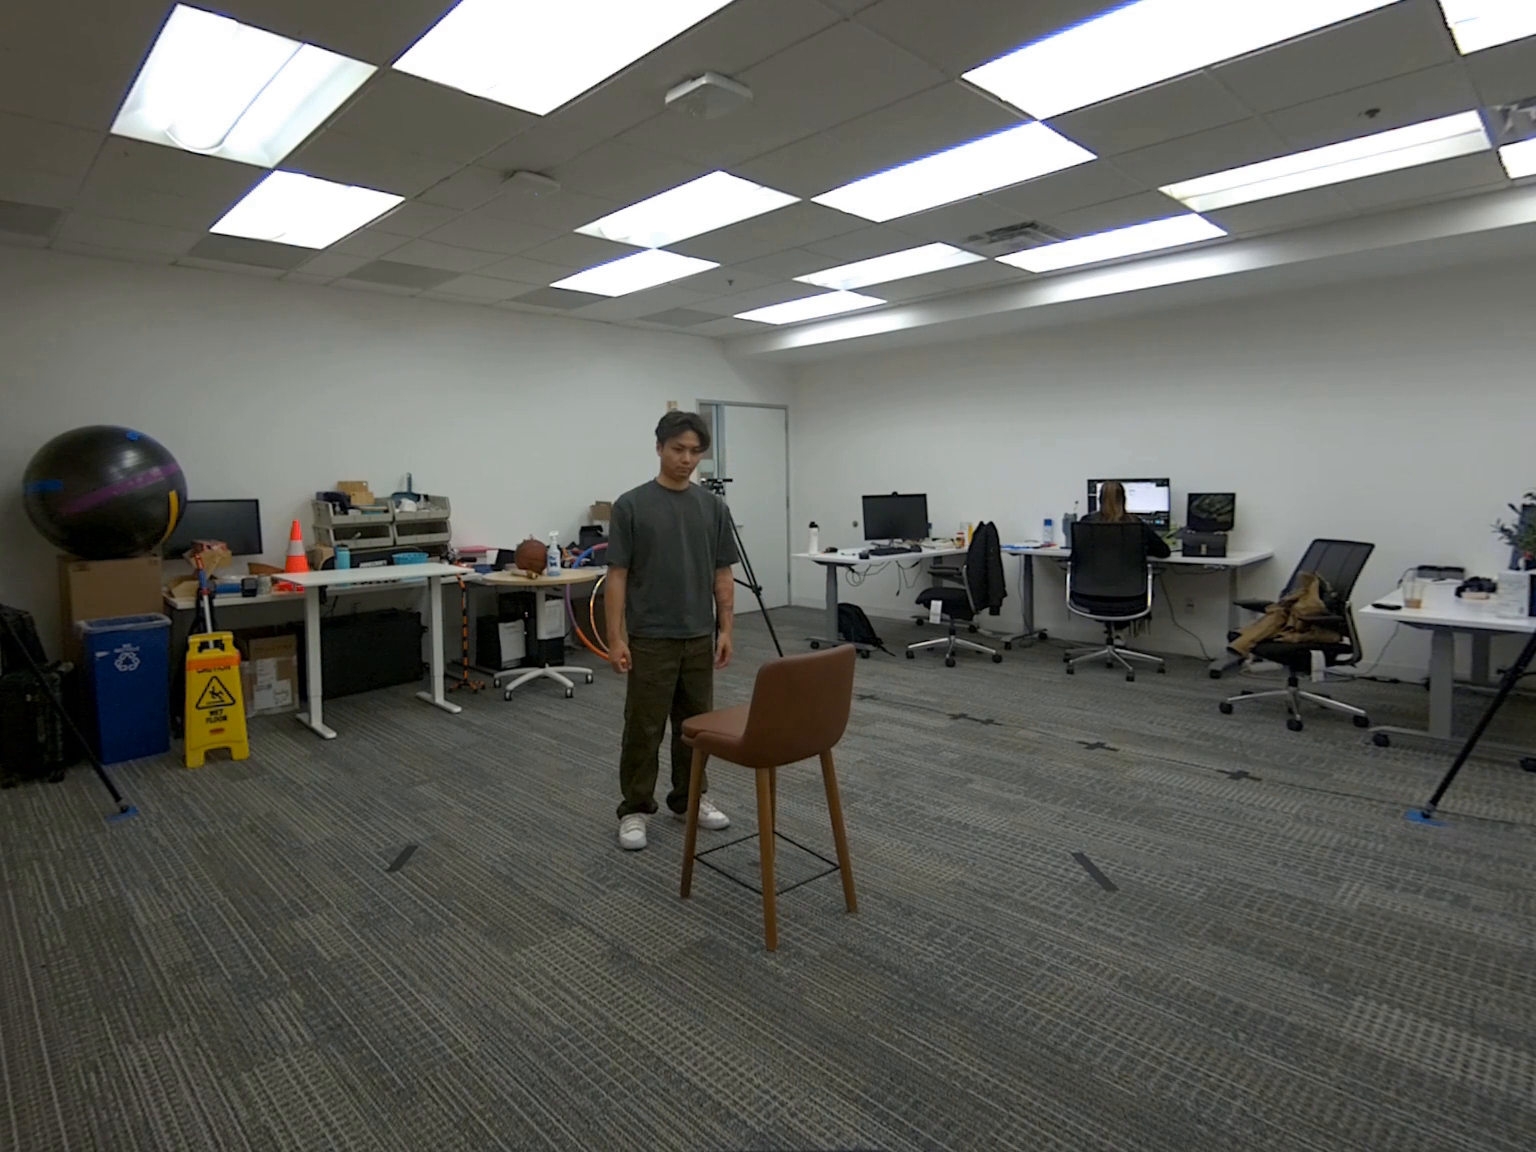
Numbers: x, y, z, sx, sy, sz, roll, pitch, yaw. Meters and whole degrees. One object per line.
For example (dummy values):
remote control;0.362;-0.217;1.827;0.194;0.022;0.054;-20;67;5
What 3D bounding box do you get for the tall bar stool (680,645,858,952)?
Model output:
tall bar stool;0.003;0.644;2.788;0.444;0.886;0.482;-4;7;-39
